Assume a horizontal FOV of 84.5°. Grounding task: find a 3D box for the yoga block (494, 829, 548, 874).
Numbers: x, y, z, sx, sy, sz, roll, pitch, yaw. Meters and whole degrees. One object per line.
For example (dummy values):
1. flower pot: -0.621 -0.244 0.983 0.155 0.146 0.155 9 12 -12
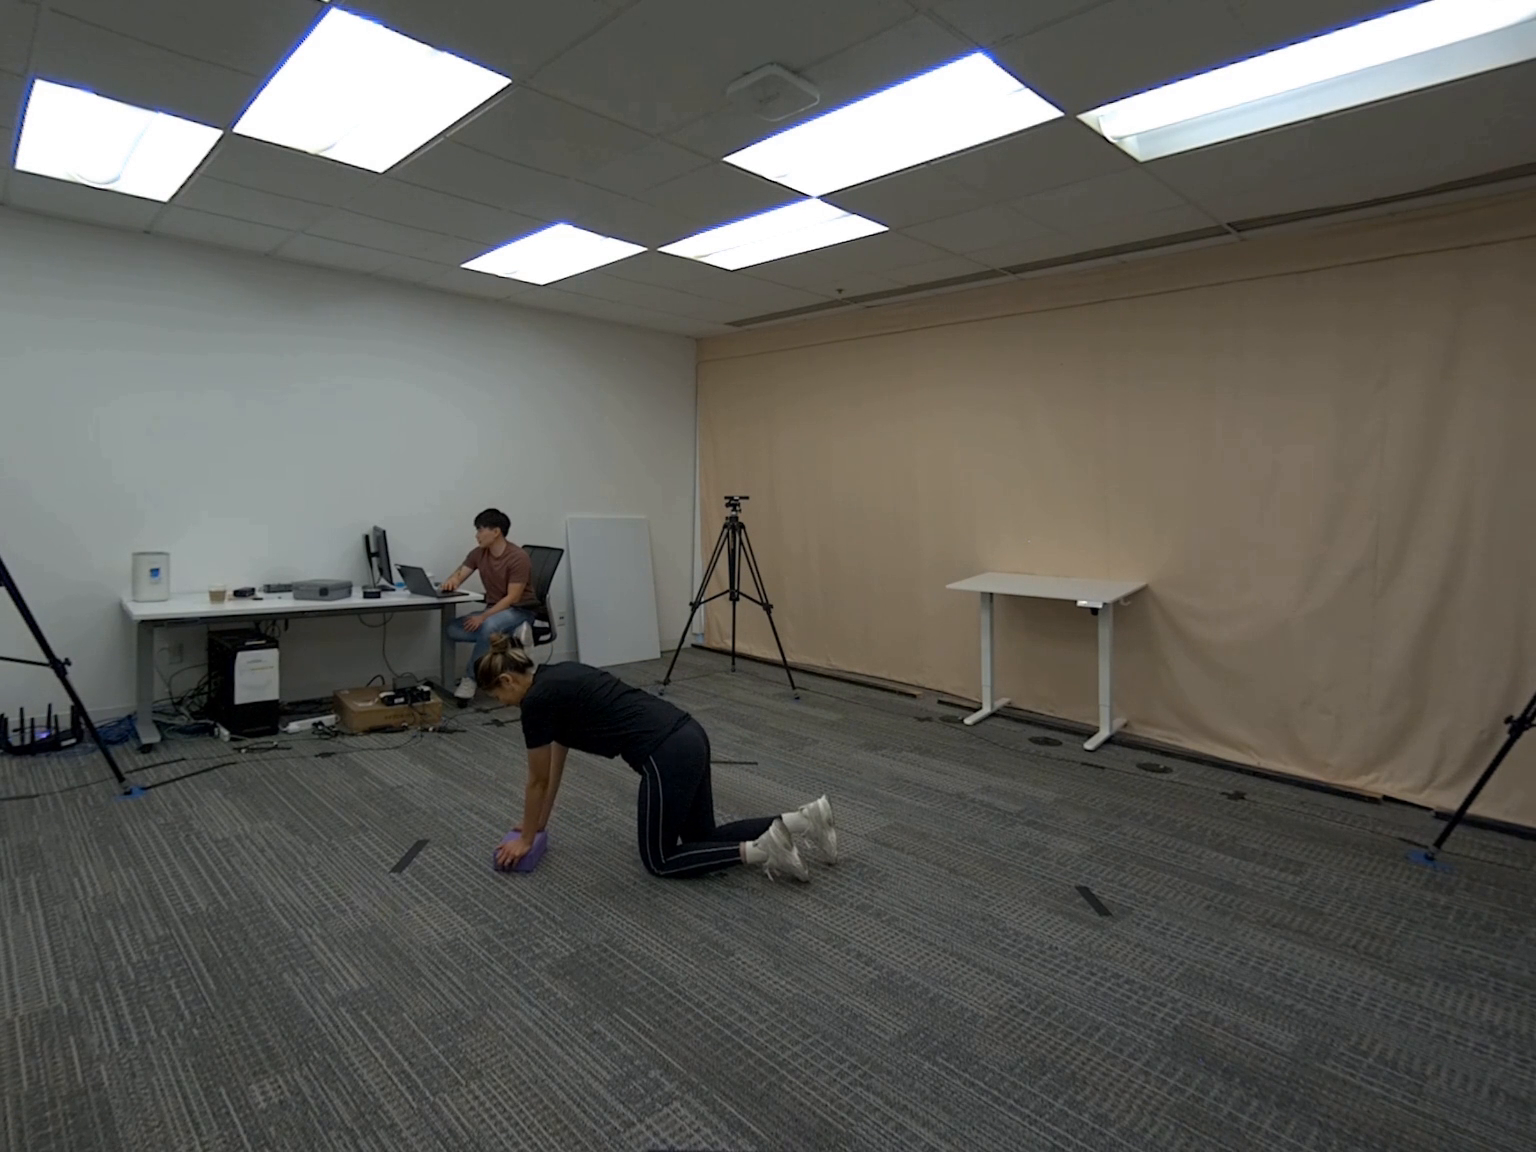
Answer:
1. yoga block: -0.937 1.033 3.204 0.149 0.076 0.229 1 4 1
